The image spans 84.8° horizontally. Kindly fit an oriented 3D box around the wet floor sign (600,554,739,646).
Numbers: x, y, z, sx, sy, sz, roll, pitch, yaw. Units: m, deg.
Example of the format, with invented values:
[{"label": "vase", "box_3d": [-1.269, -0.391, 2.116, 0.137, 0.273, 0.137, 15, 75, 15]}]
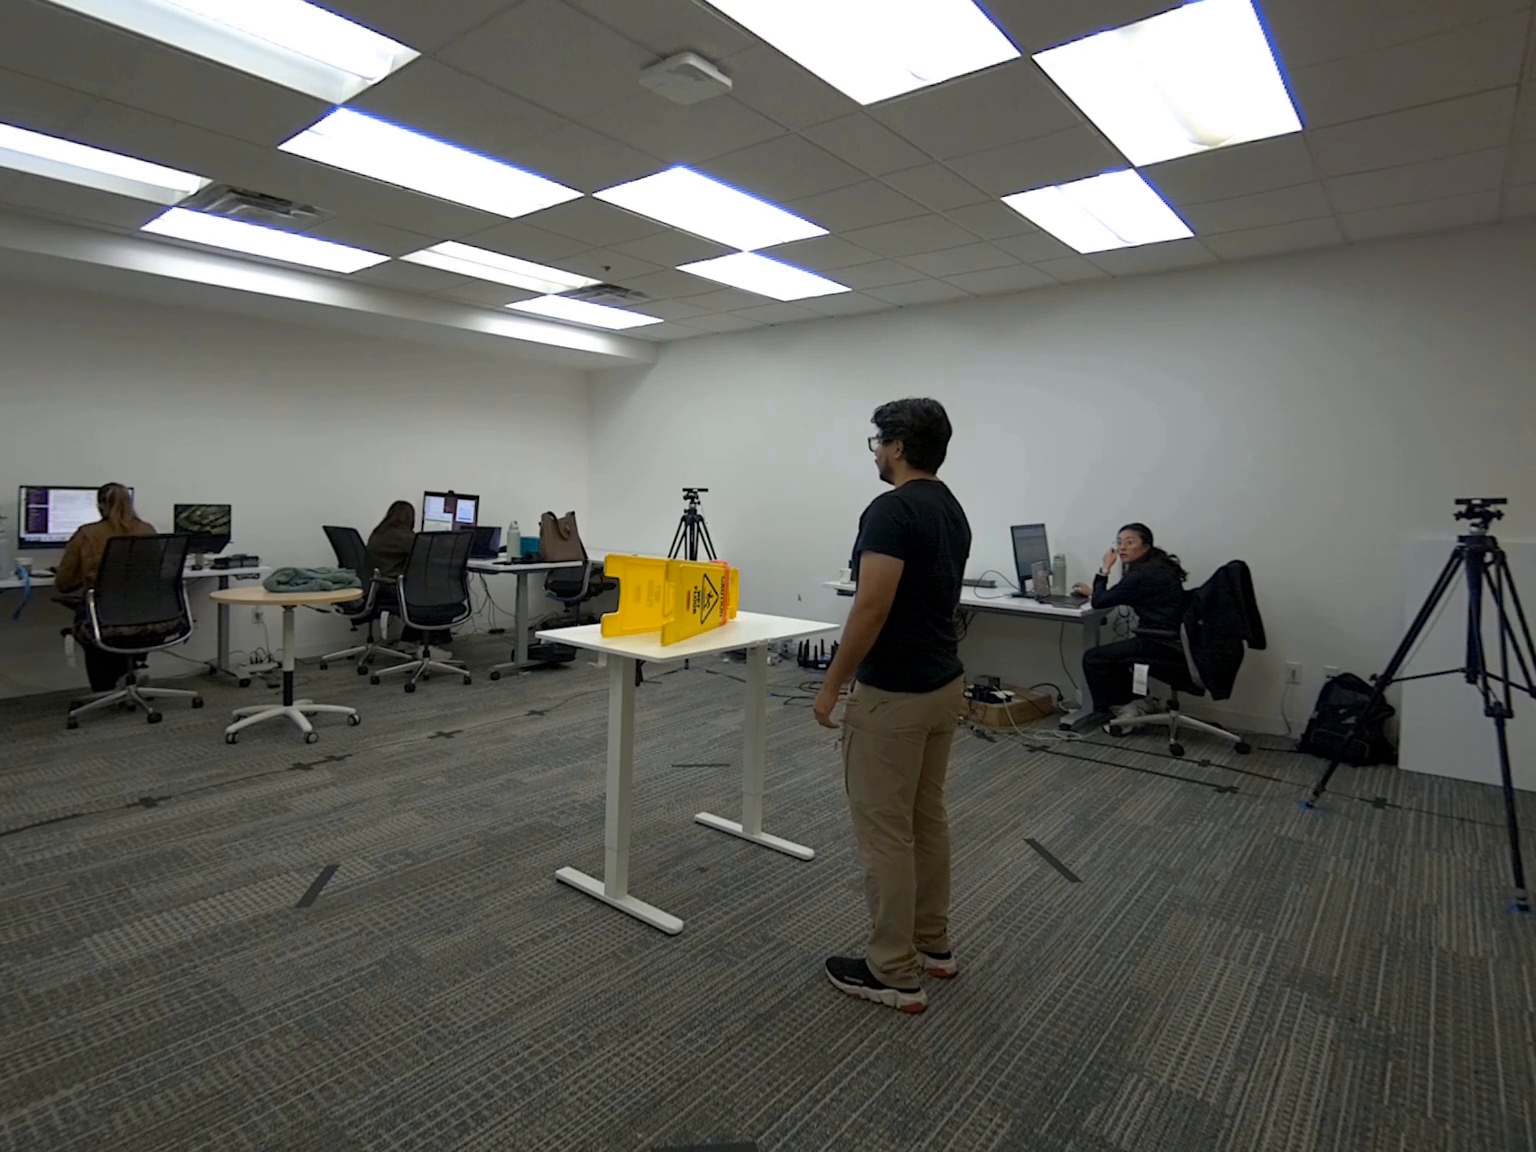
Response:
[{"label": "wet floor sign", "box_3d": [-0.297, 0.070, 3.035, 0.298, 0.282, 0.628, 4, 2, 29]}]
